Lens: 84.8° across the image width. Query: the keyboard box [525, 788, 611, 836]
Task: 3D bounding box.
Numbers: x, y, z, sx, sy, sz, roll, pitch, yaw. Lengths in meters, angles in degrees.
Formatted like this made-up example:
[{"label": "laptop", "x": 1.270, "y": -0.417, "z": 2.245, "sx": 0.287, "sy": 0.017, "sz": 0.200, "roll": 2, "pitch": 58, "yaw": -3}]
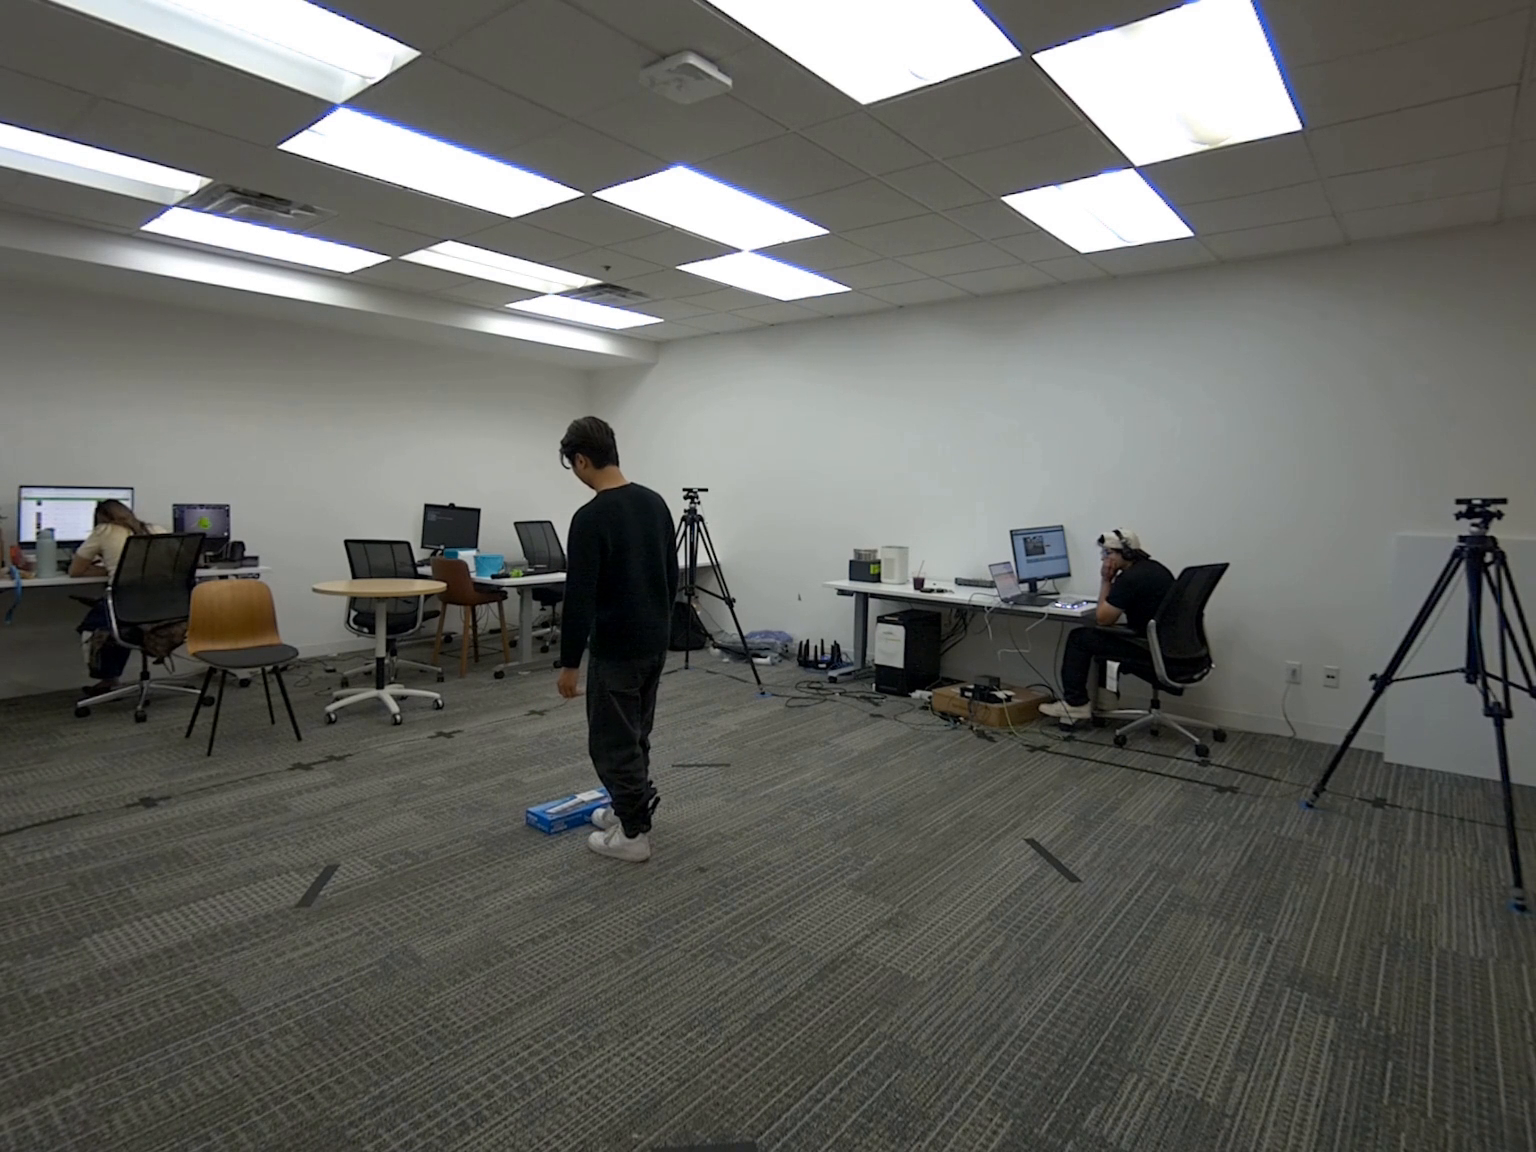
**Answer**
[{"label": "keyboard box", "x": -0.805, "y": 0.983, "z": 3.602, "sx": 0.182, "sy": 0.059, "sz": 0.424, "roll": 5, "pitch": 7, "yaw": 43}]
